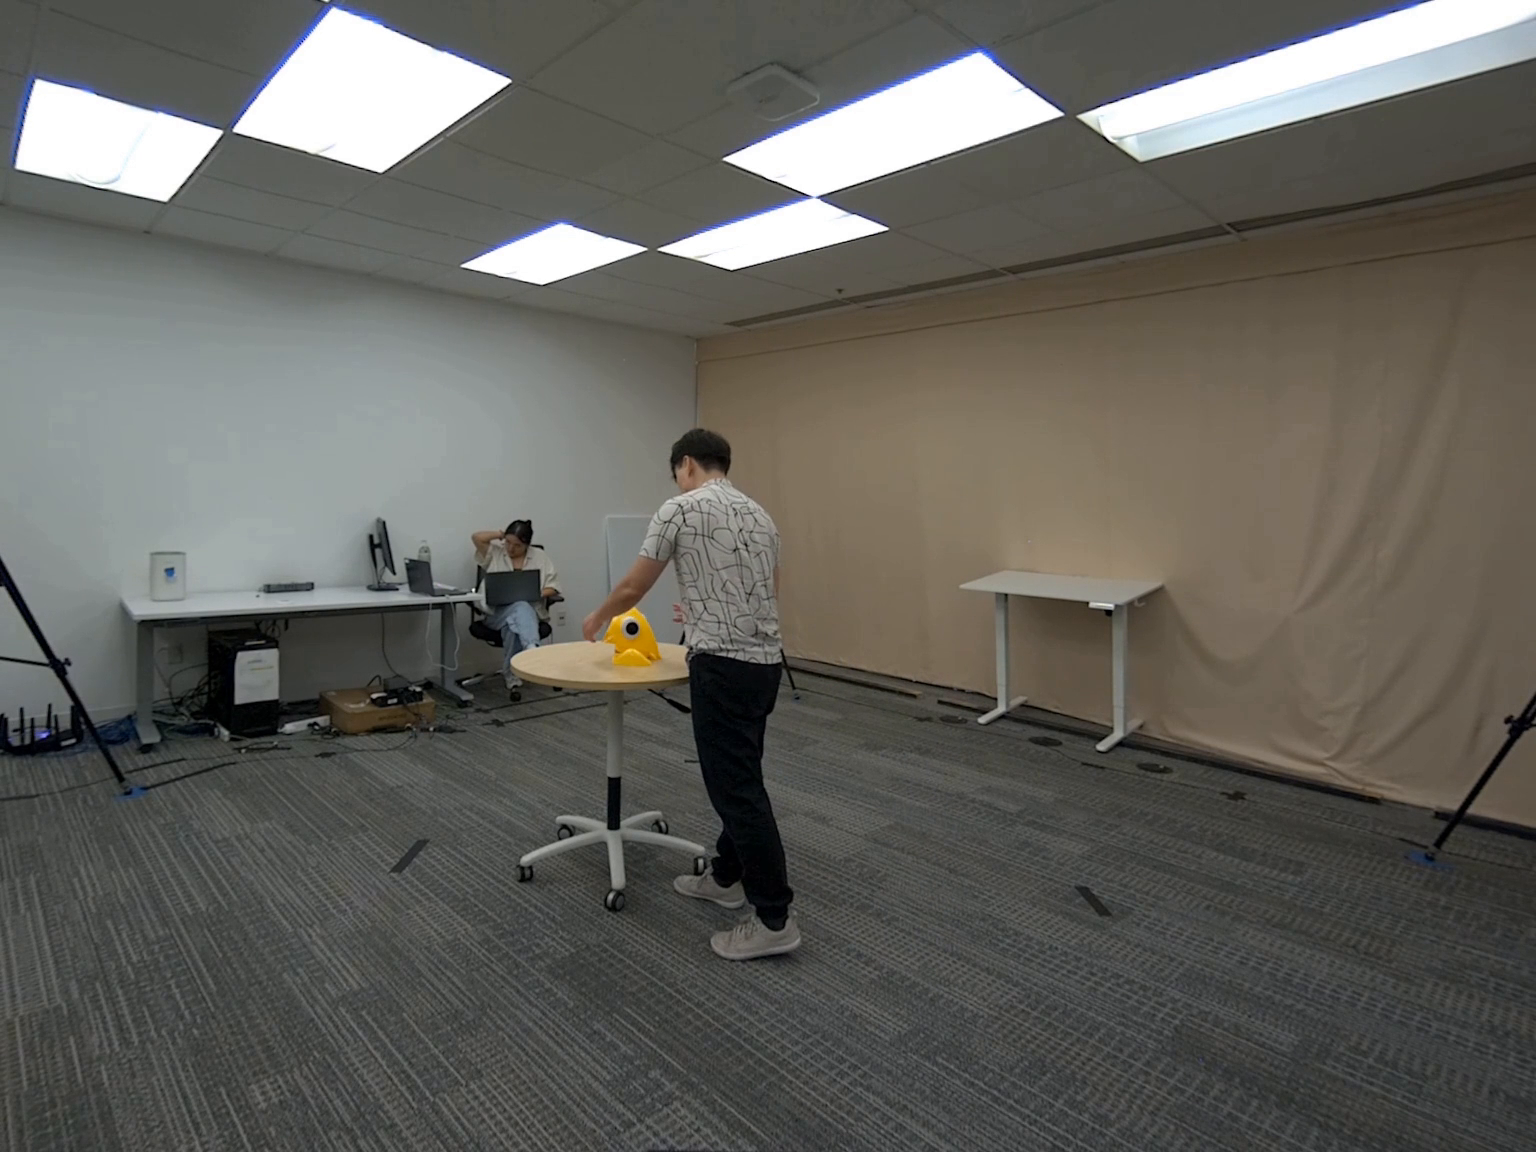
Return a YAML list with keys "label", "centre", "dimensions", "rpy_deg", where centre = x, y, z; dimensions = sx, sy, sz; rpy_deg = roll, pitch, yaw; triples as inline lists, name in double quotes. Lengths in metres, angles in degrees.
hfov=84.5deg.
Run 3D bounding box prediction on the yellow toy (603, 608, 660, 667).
- label: "yellow toy"
  centre: [-0.501, 0.201, 3.106]
  dimensions: [0.195, 0.230, 0.203]
  rpy_deg: [3, 4, 11]
